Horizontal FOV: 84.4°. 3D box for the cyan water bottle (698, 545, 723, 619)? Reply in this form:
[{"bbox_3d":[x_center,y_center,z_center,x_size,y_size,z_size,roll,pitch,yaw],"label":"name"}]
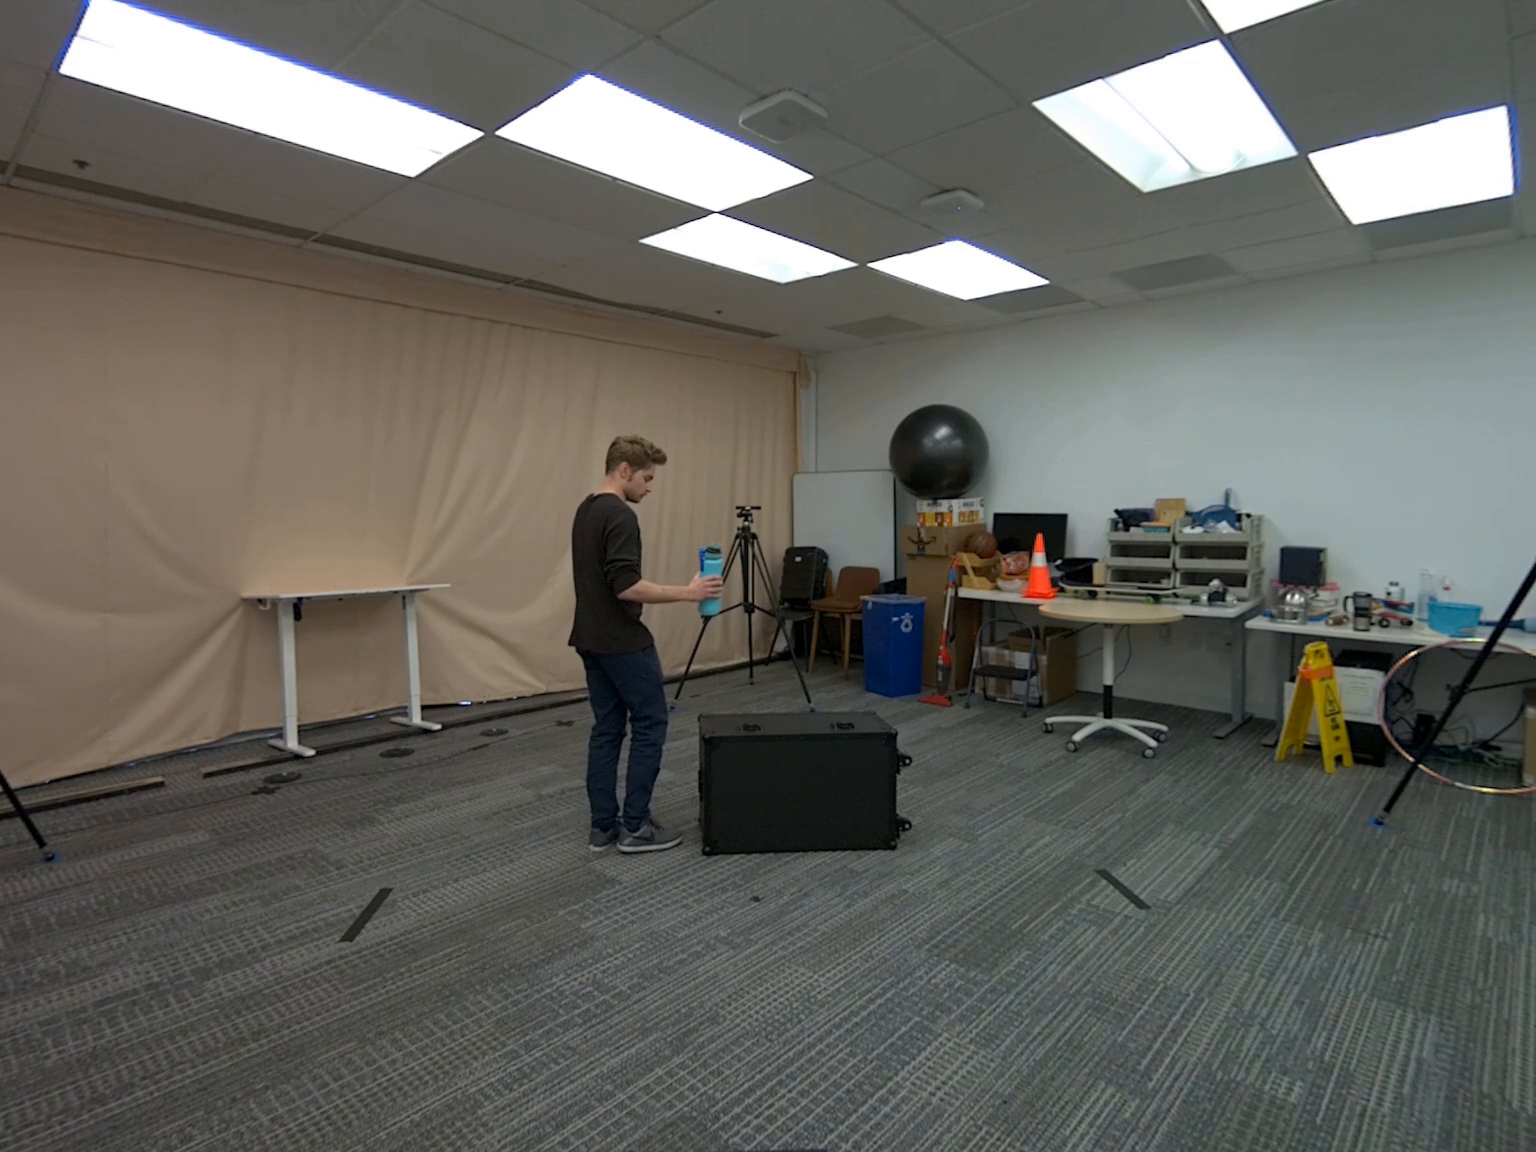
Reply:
[{"bbox_3d":[-0.232,0.011,3.377,0.092,0.282,0.093,3,10,-2],"label":"cyan water bottle"}]
